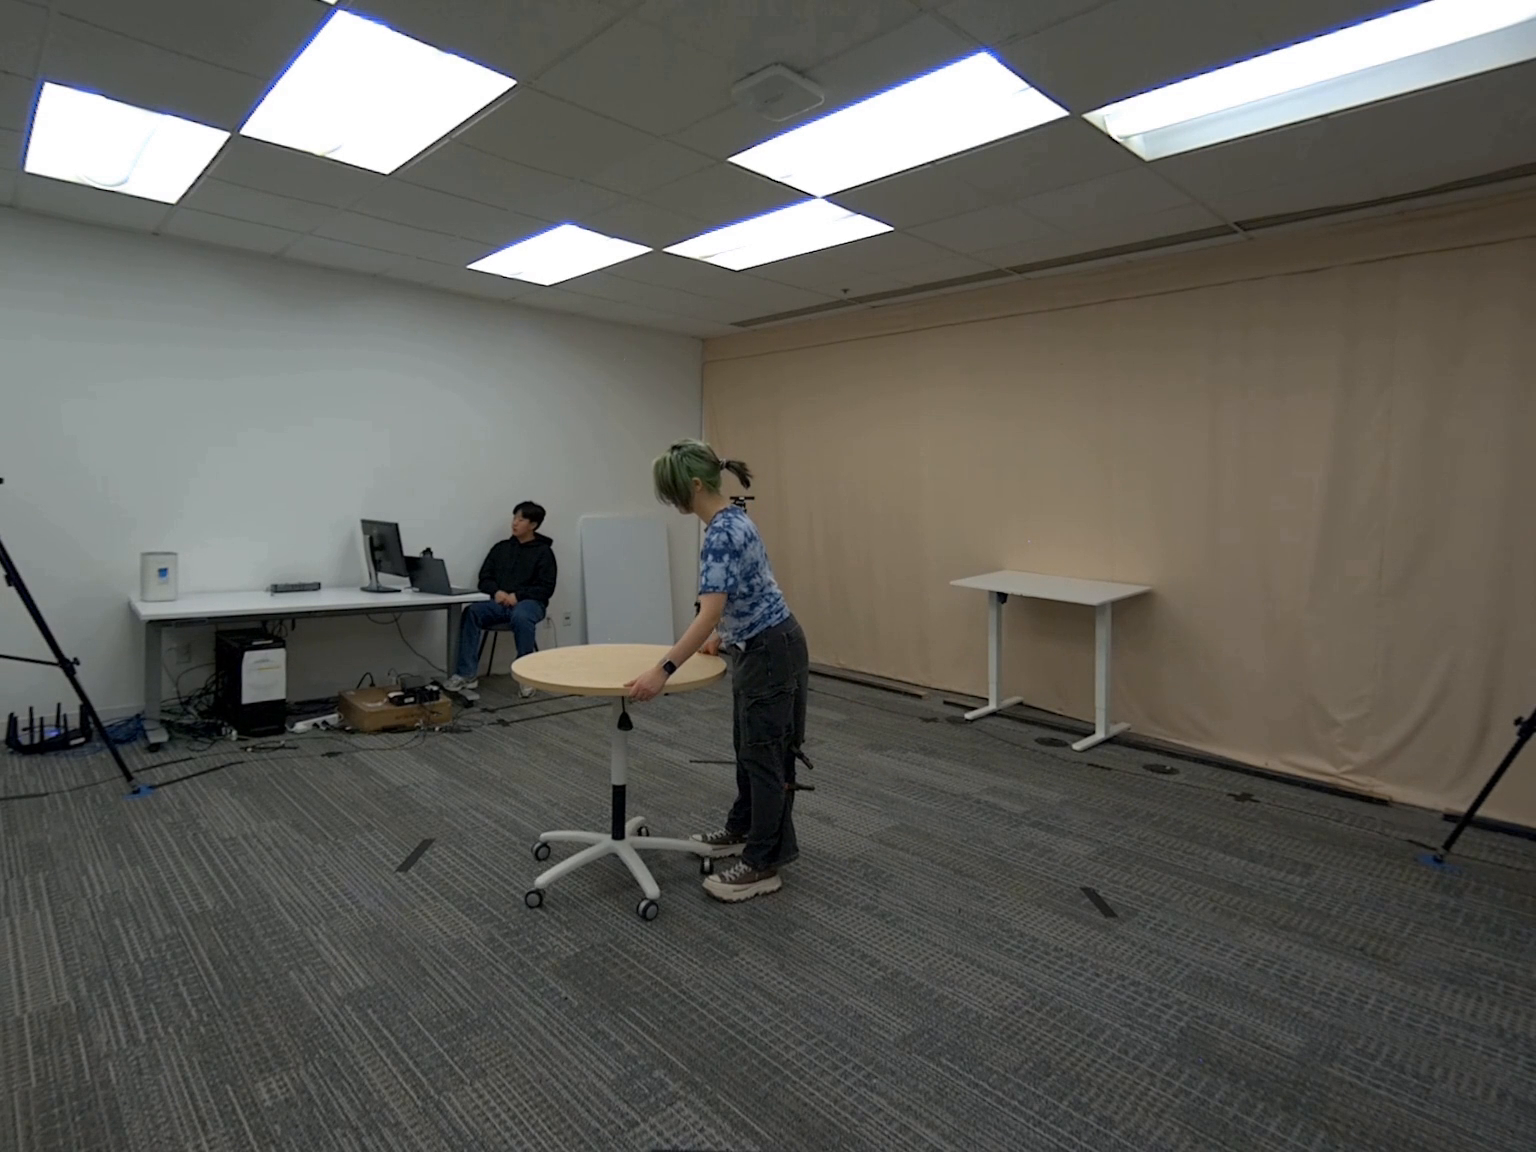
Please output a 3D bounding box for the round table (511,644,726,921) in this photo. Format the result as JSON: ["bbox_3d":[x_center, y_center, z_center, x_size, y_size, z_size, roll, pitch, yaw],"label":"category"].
[{"bbox_3d":[-0.550,0.710,3.049,0.763,0.792,0.767,1,4,-1],"label":"round table"}]
